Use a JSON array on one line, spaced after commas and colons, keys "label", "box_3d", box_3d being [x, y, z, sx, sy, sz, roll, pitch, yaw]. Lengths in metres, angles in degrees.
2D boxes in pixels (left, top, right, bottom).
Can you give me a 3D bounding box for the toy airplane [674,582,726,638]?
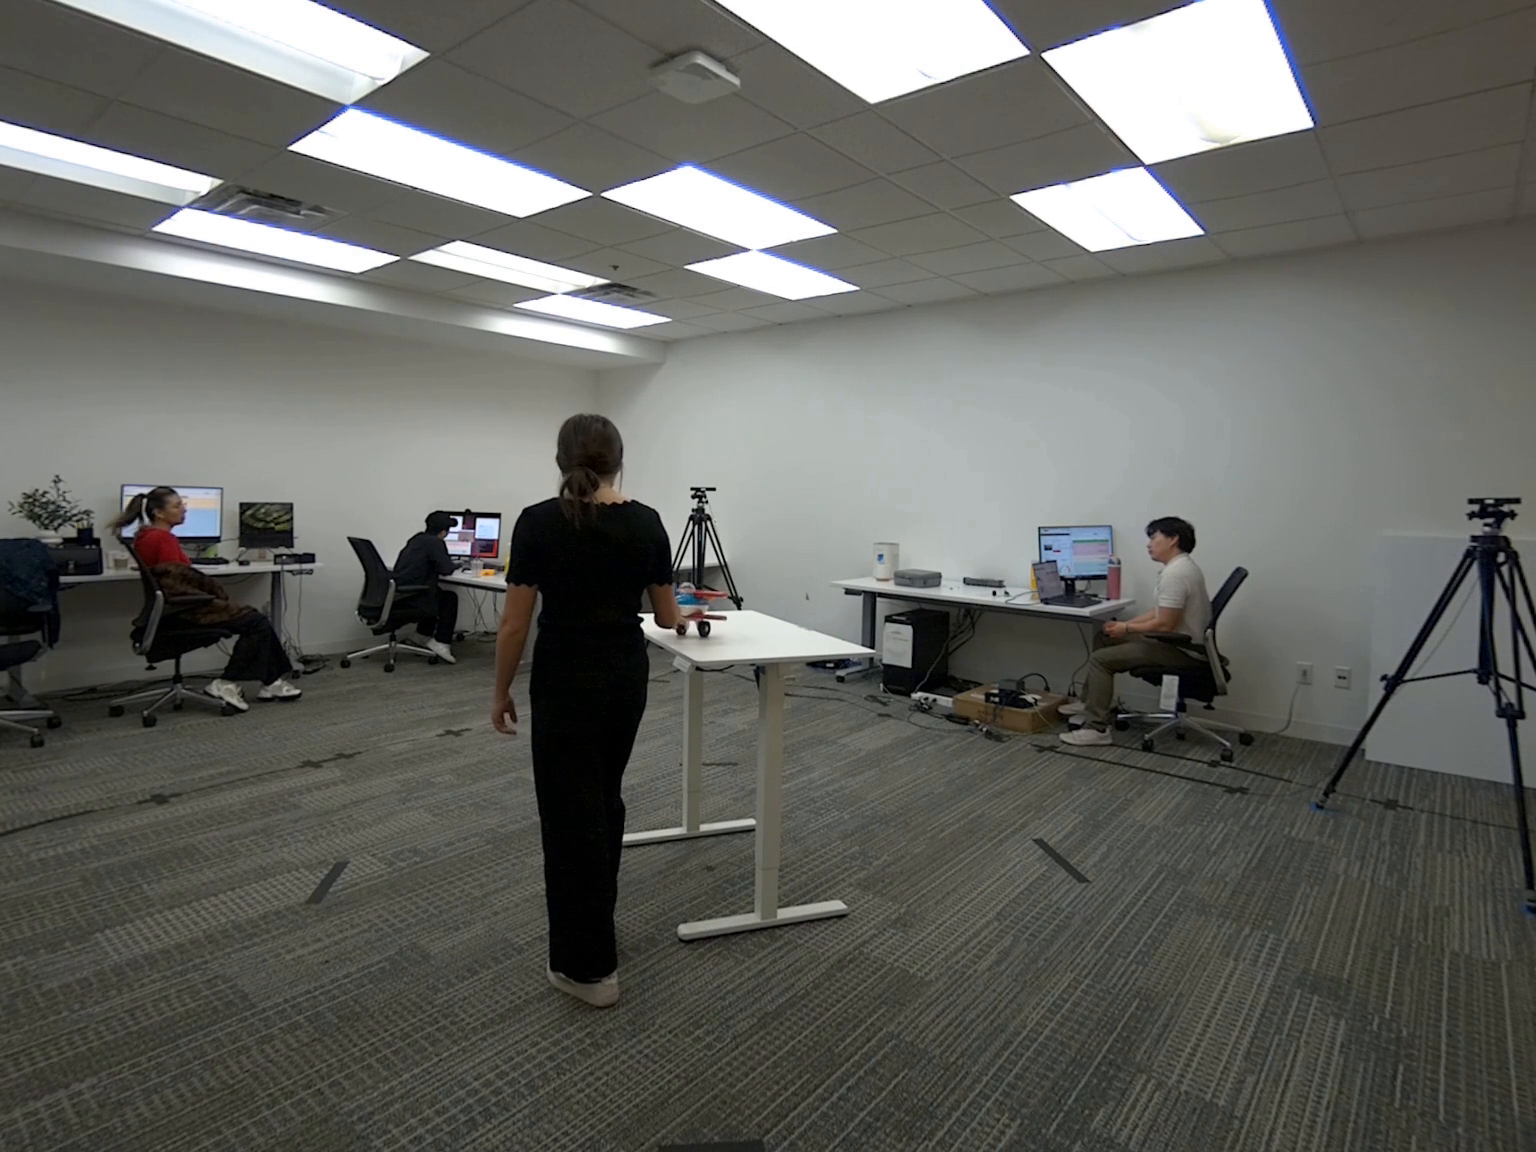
[{"label": "toy airplane", "box_3d": [-0.264, 0.106, 2.852, 0.249, 0.158, 0.258, 10, -16, -7]}]
